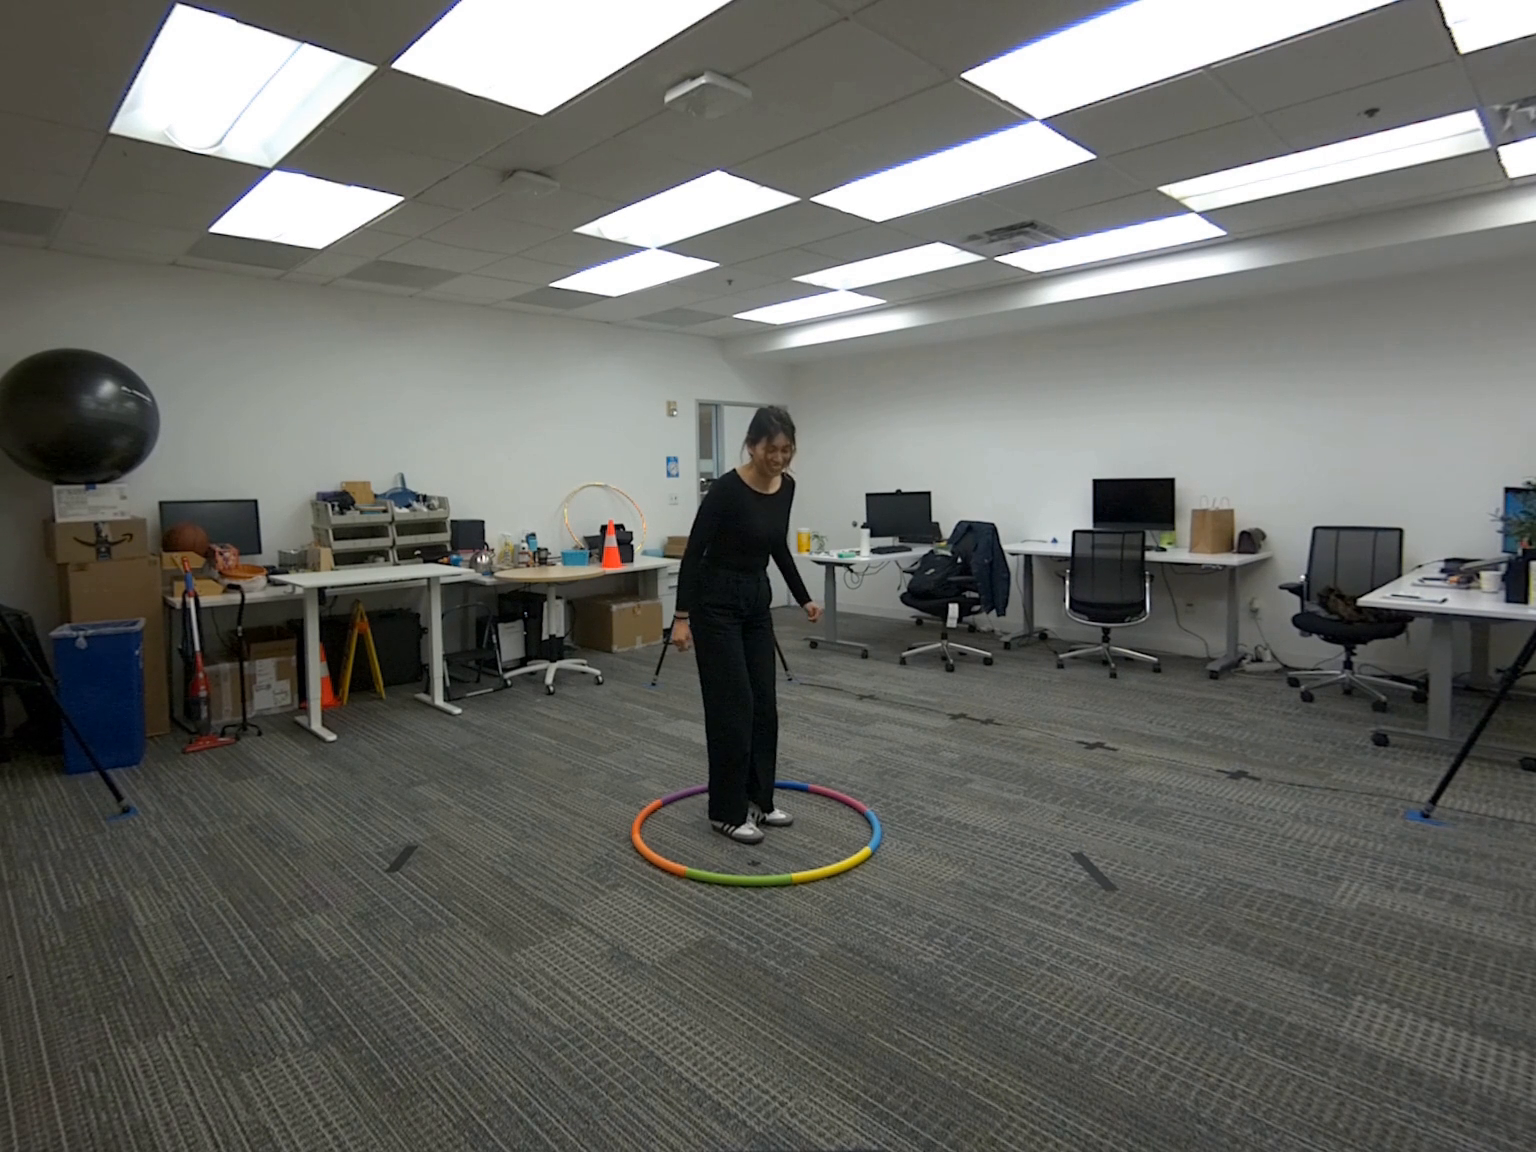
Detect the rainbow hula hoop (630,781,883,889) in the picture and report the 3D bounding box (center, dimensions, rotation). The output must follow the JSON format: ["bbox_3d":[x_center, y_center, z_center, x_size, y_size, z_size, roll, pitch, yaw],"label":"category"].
[{"bbox_3d":[-0.047,0.983,3.401,0.978,0.035,0.984,-1,6,-2],"label":"rainbow hula hoop"}]
